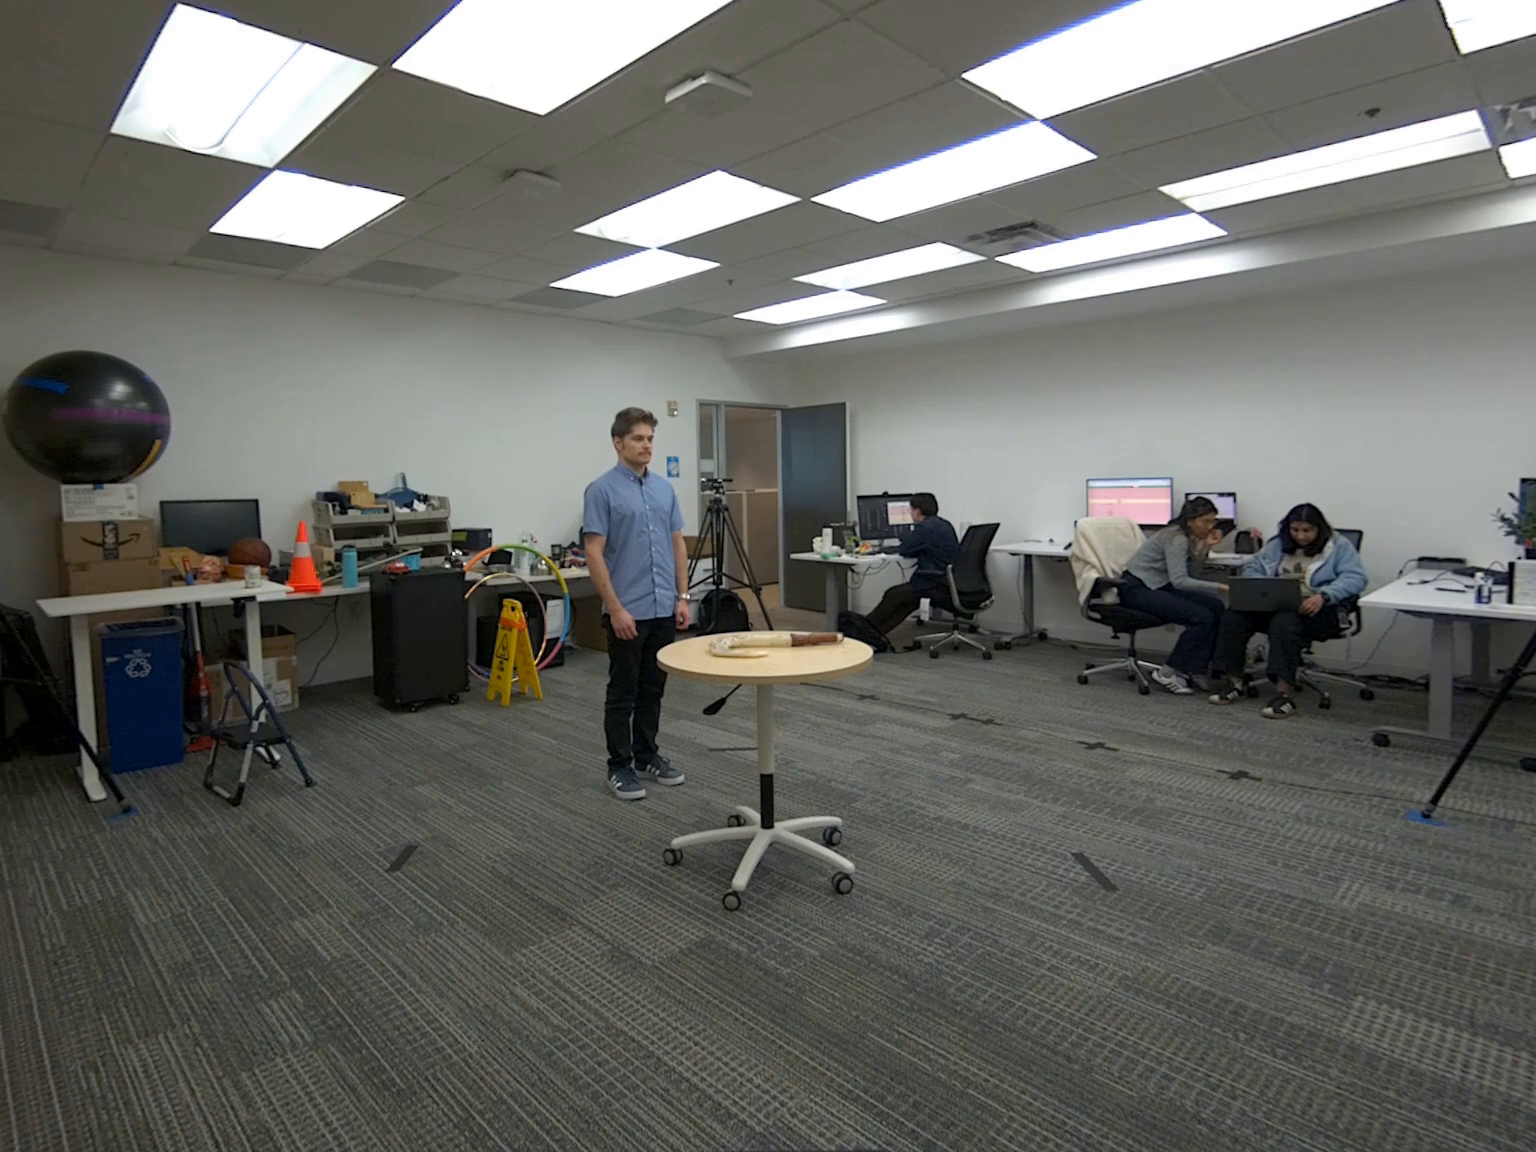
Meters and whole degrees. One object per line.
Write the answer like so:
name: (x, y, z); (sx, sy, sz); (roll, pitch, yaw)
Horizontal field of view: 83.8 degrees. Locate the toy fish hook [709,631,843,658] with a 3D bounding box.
toy fish hook: (0.046, 0.252, 3.060); (0.502, 0.048, 0.229); (-4, 13, -9)
